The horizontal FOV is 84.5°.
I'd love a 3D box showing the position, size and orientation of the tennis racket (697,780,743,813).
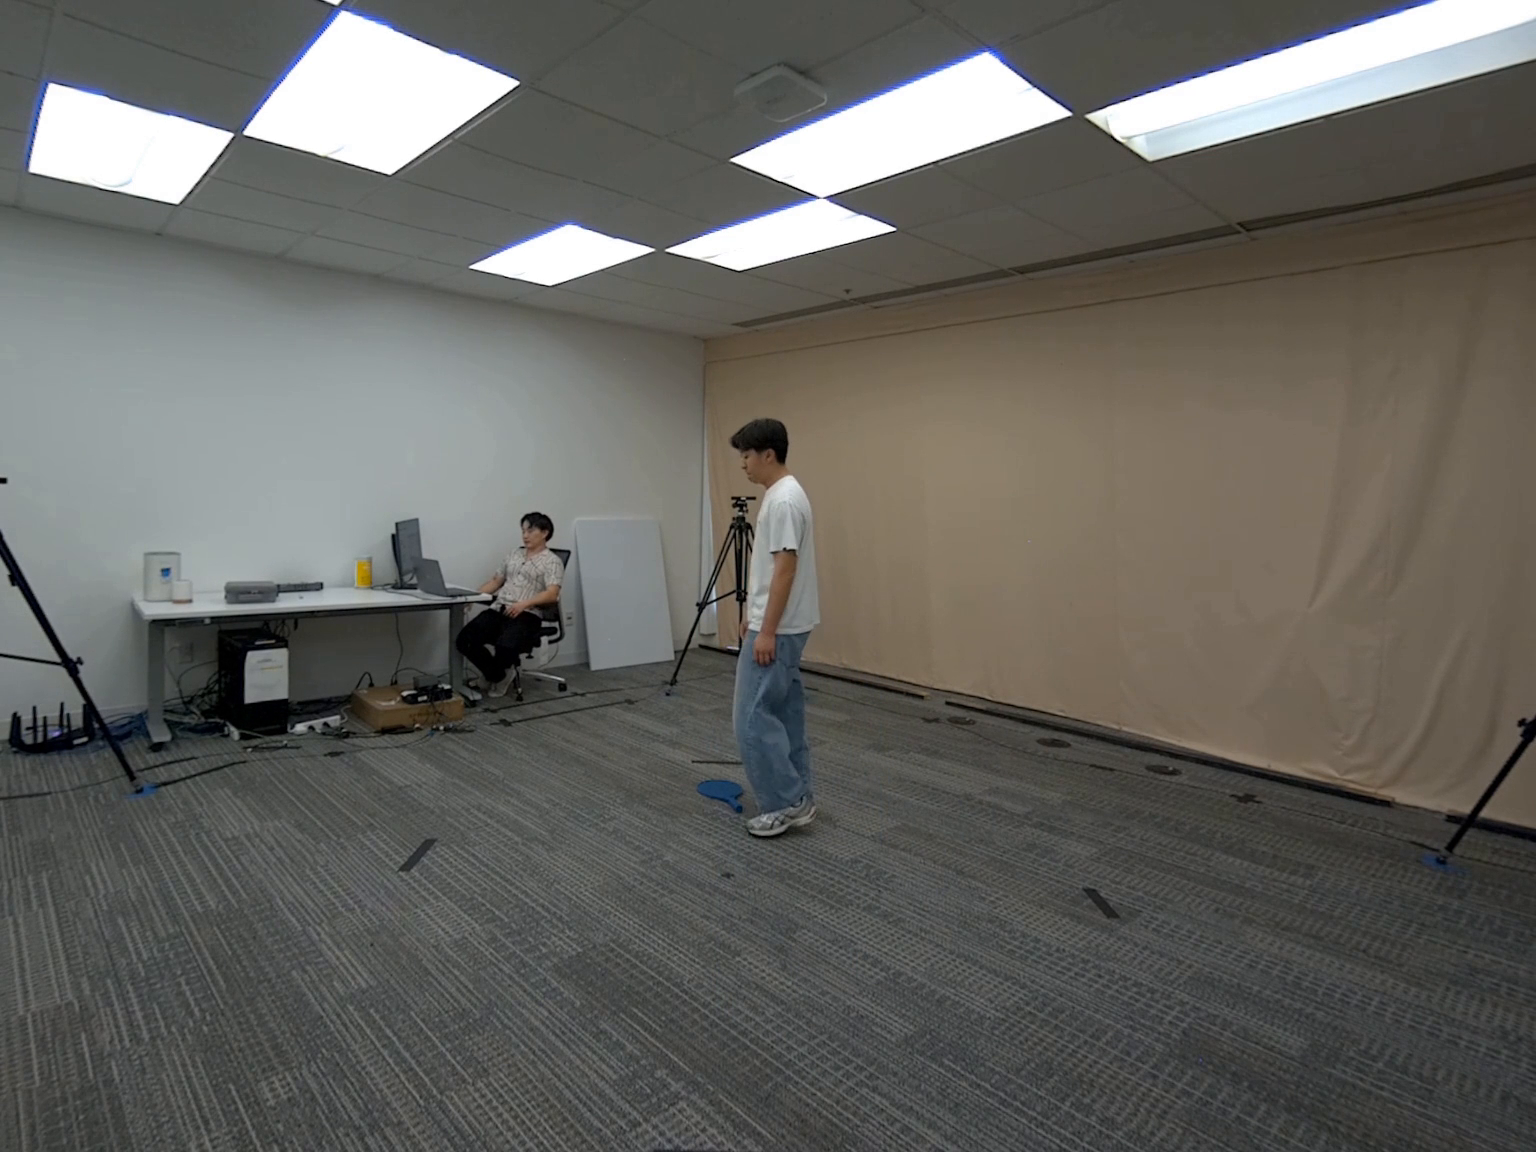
[{"bbox_3d":[-0.211,1.016,3.940,0.211,0.032,0.439,0,4,-18],"label":"tennis racket"}]
